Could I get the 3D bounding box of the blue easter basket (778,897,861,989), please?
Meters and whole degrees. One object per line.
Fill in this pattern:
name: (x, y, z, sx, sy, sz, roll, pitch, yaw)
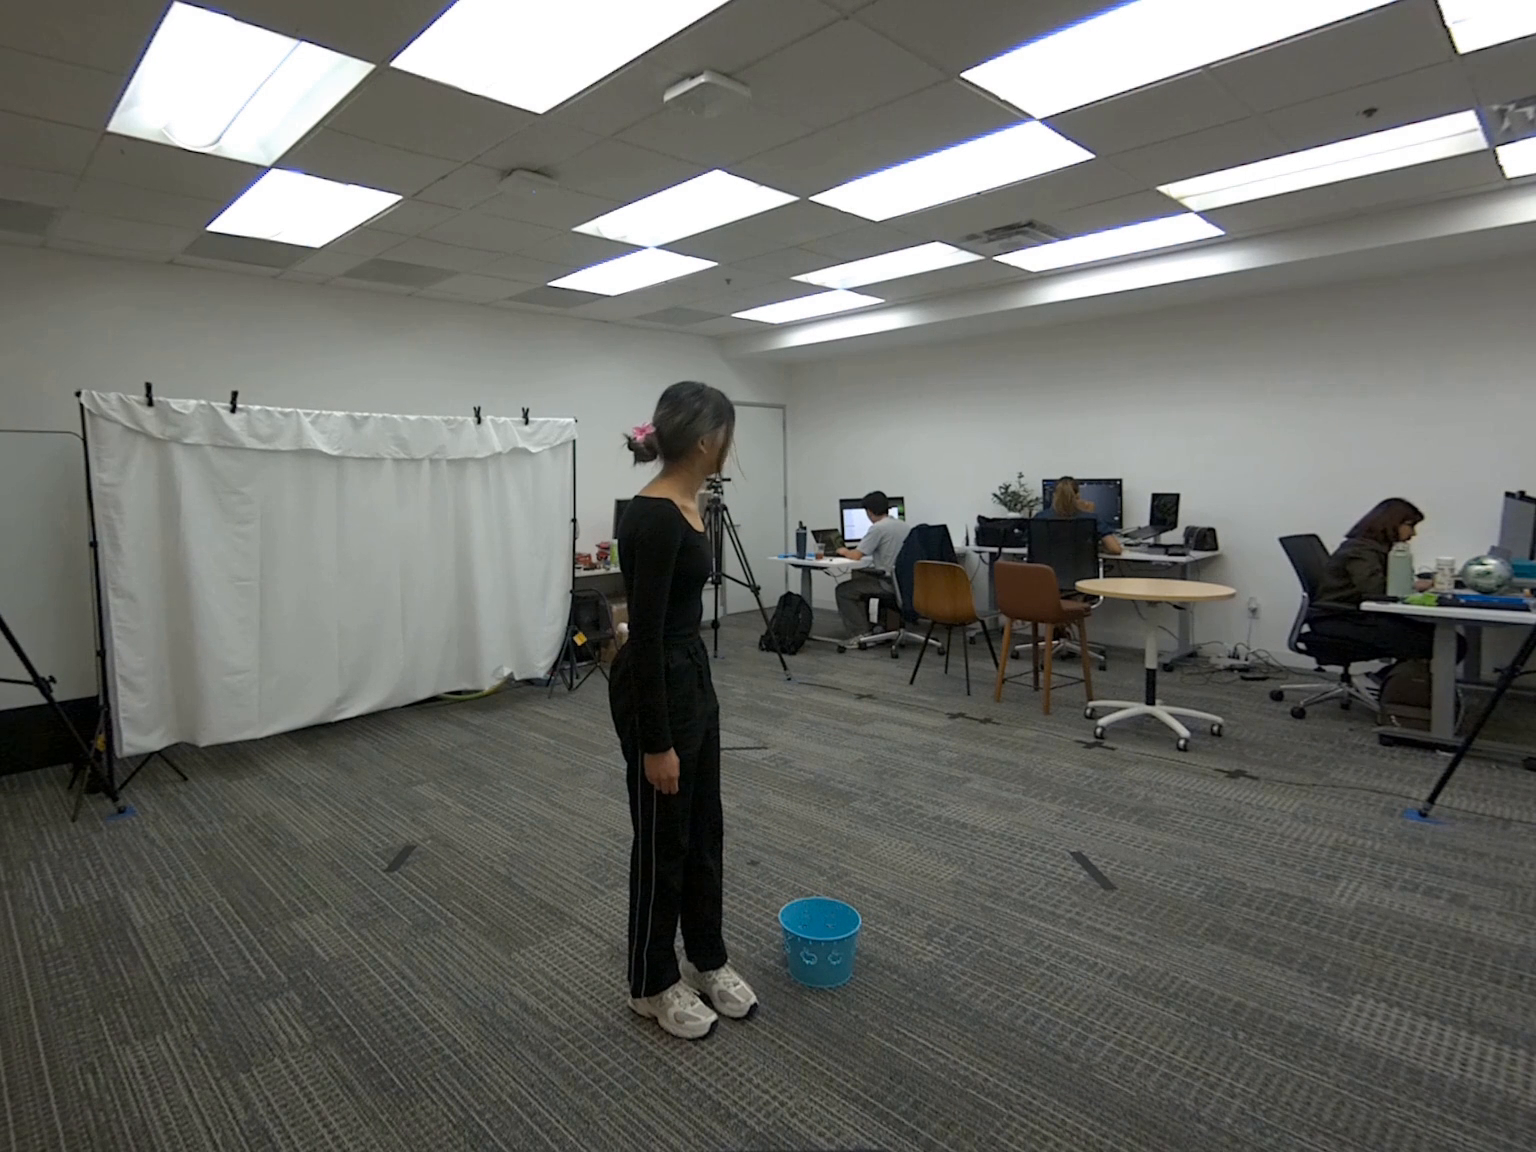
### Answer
blue easter basket: (0.152, 1.044, 2.427, 0.243, 0.155, 0.245, -1, 5, -2)
